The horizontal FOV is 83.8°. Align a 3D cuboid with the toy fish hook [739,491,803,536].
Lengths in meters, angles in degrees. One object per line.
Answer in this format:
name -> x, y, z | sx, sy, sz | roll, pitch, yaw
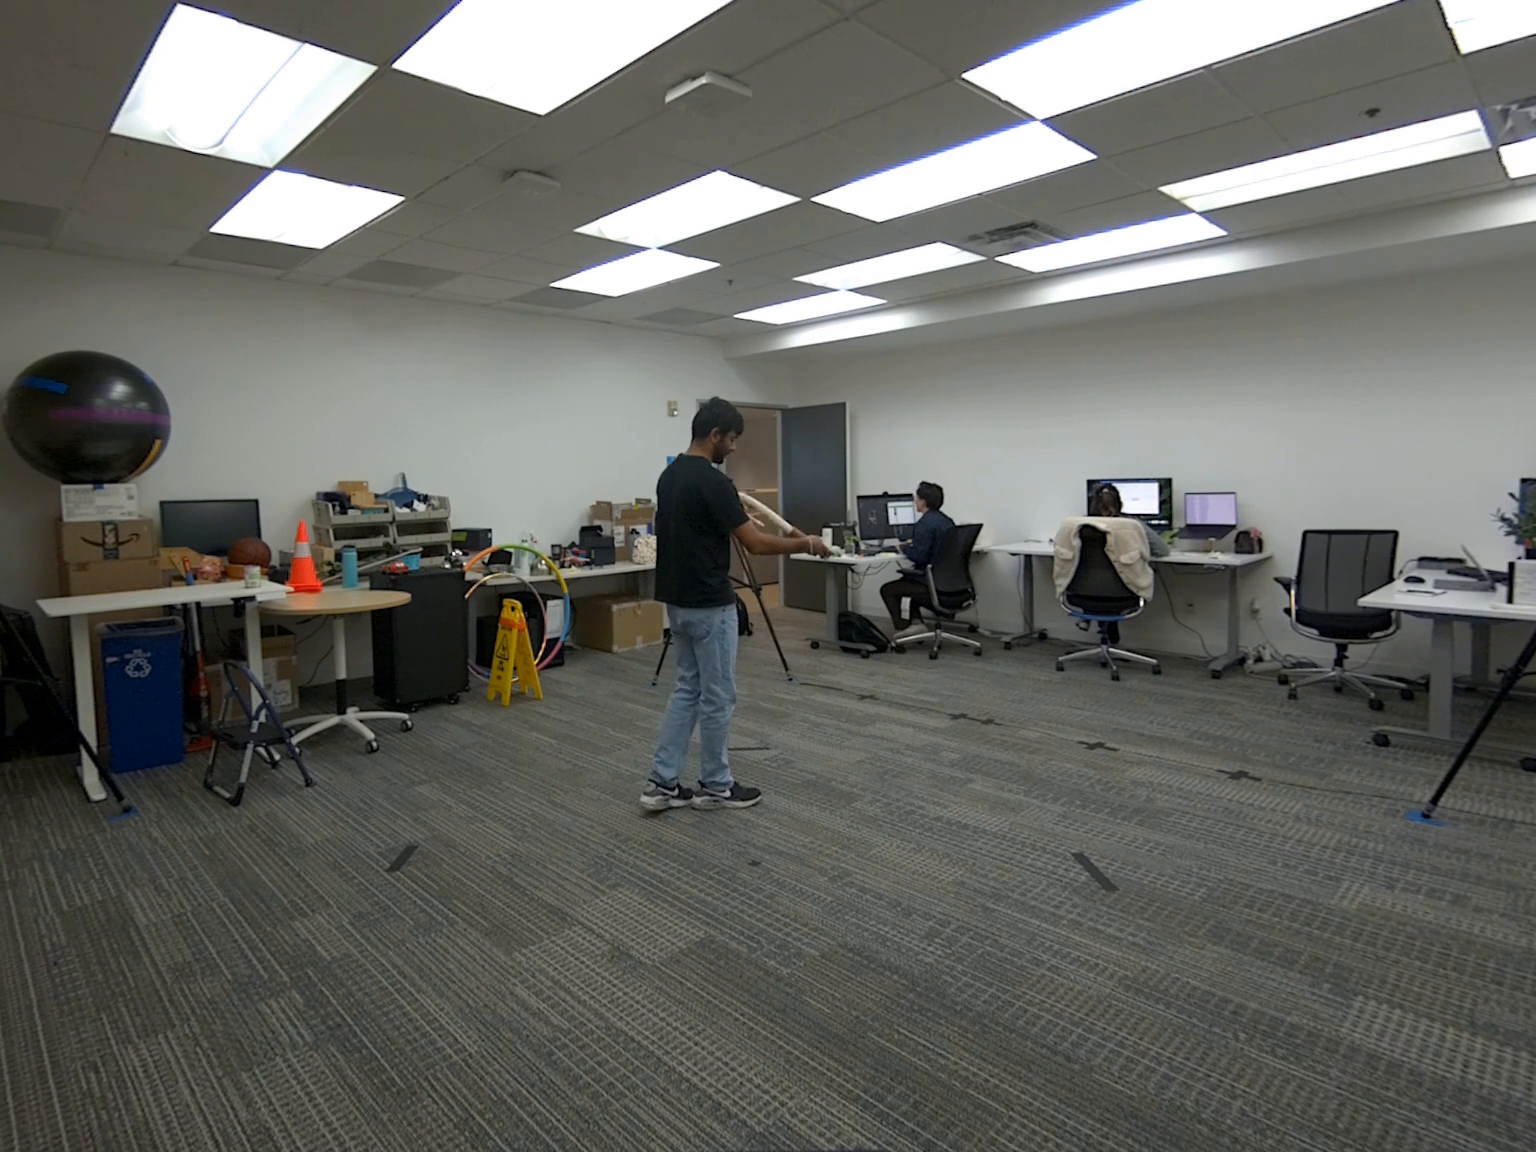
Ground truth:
toy fish hook -> 0.044, -0.201, 3.762 | 0.509, 0.048, 0.223 | 33, -14, 2
